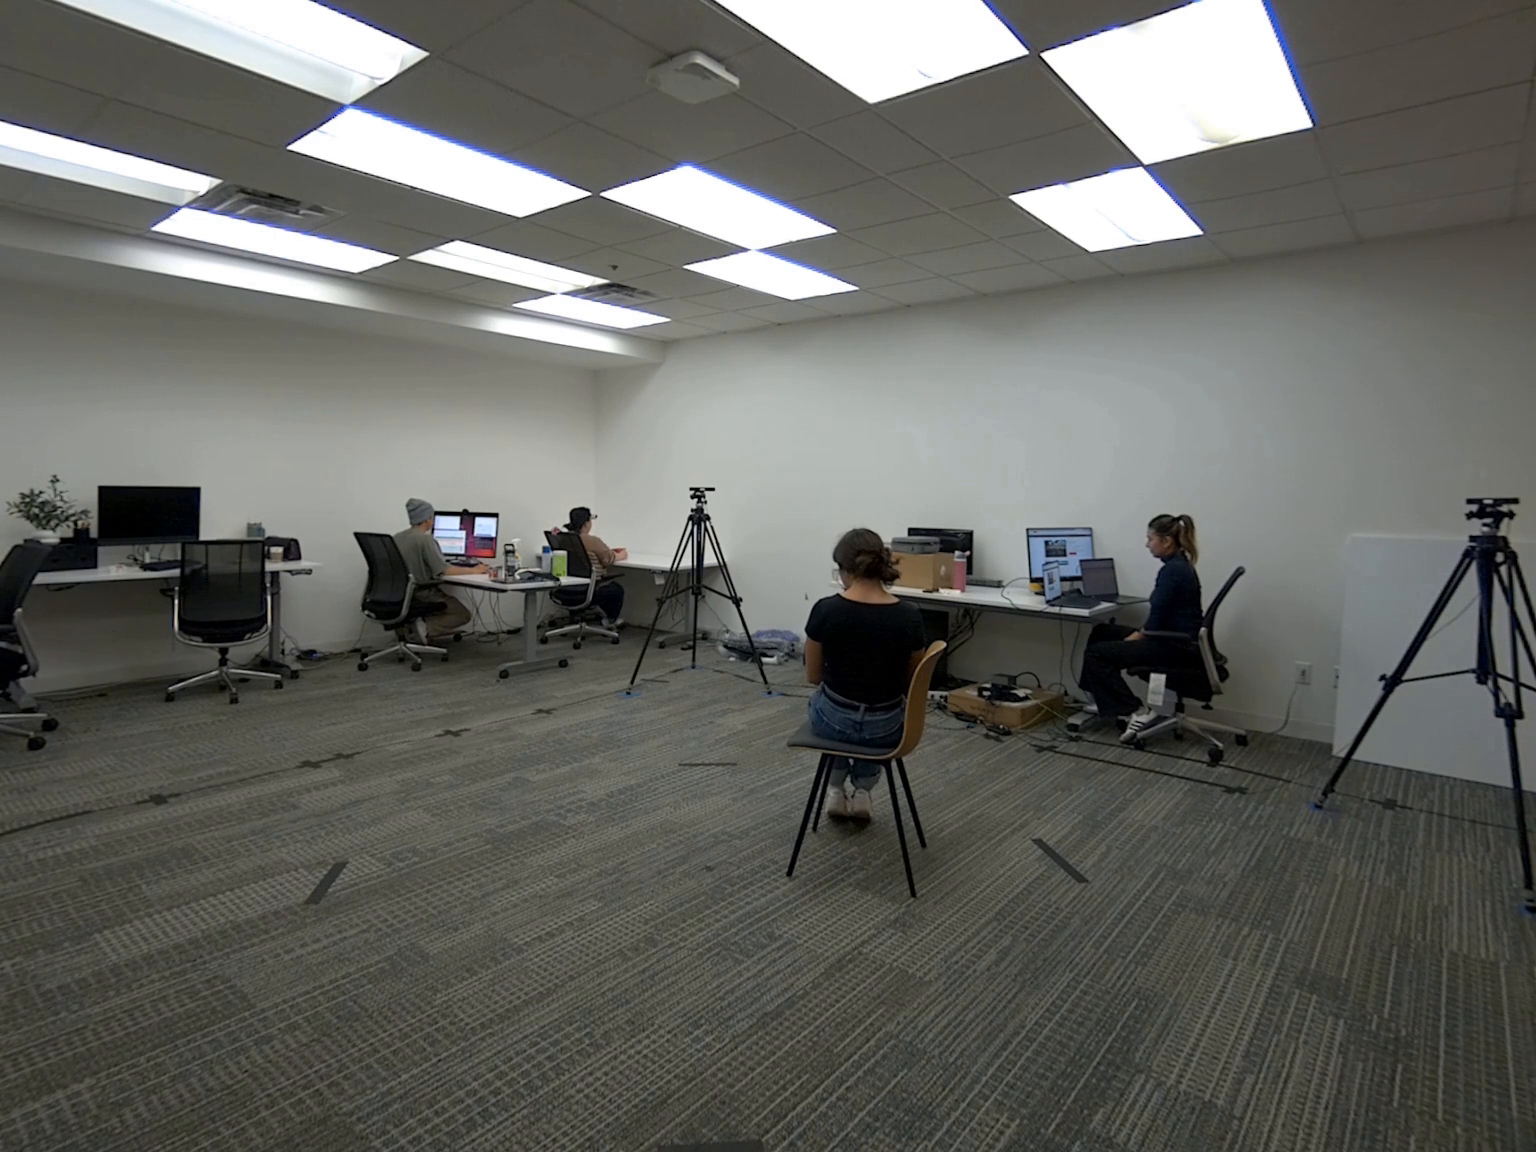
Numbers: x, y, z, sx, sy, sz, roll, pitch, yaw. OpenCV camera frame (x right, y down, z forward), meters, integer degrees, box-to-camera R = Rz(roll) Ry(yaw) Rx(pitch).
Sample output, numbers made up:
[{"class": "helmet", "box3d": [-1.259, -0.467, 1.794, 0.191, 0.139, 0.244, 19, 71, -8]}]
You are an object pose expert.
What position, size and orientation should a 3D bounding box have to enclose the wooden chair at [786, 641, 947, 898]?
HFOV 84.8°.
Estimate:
[{"class": "wooden chair", "box3d": [0.343, 0.646, 3.171, 0.534, 0.875, 0.470, 7, 4, 16]}]
